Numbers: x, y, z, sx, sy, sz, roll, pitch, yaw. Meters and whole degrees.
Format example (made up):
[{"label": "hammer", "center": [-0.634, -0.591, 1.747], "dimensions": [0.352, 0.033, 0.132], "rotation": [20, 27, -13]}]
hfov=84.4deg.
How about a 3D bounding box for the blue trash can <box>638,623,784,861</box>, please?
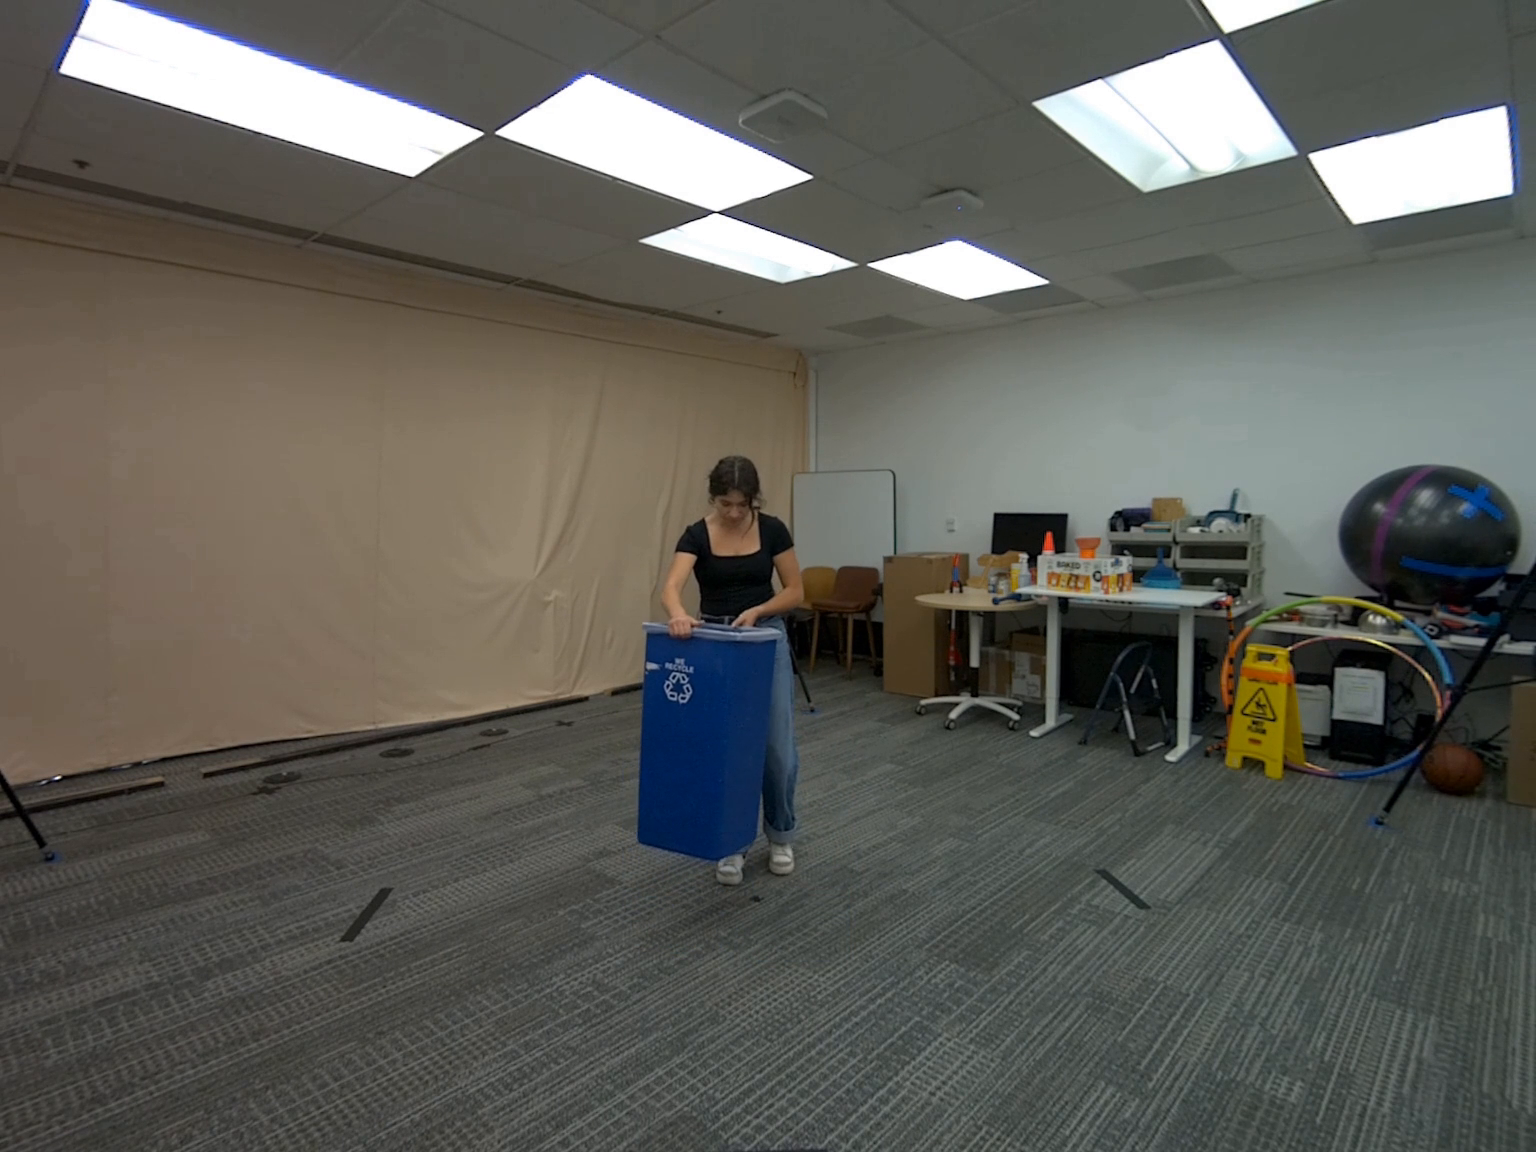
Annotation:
[{"label": "blue trash can", "center": [-0.196, 0.532, 2.817], "dimensions": [0.384, 0.714, 0.367], "rotation": [2, -2, 27]}]
